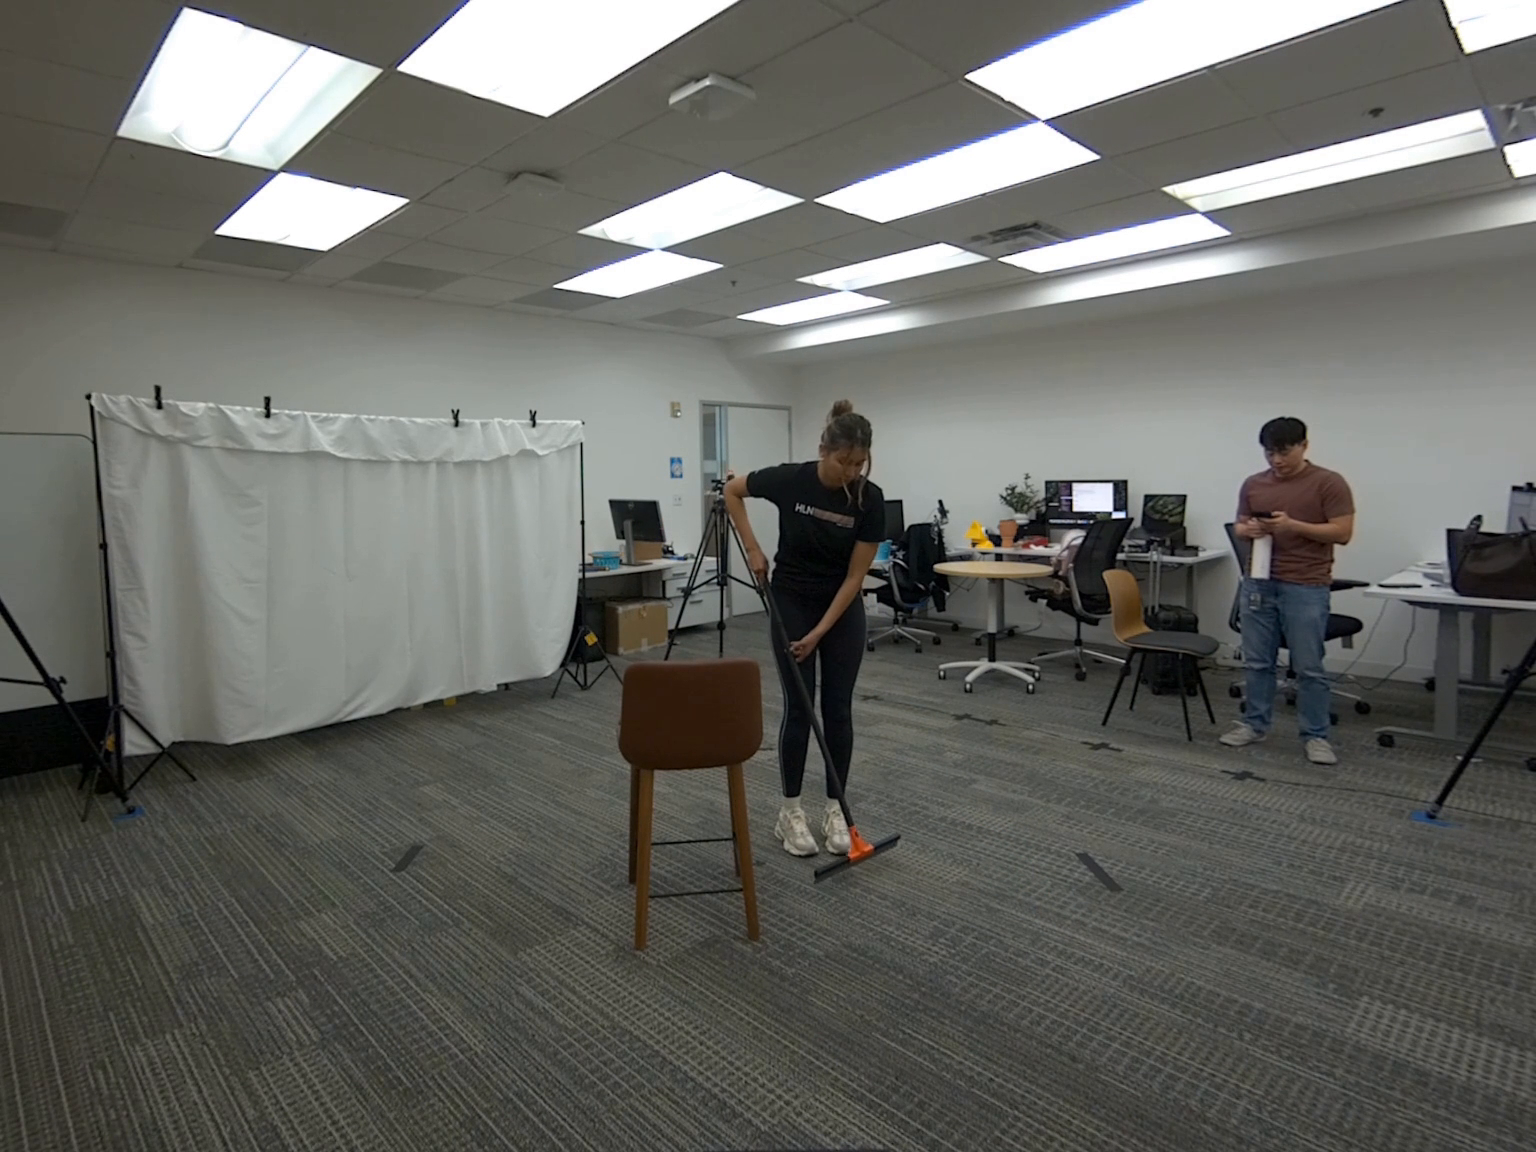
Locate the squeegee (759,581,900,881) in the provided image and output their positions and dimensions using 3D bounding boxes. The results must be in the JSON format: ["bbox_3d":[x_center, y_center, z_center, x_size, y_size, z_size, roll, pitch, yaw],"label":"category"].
[{"bbox_3d":[0.077,0.279,3.195,0.427,1.567,0.053,-8,-20,-35],"label":"squeegee"}]
